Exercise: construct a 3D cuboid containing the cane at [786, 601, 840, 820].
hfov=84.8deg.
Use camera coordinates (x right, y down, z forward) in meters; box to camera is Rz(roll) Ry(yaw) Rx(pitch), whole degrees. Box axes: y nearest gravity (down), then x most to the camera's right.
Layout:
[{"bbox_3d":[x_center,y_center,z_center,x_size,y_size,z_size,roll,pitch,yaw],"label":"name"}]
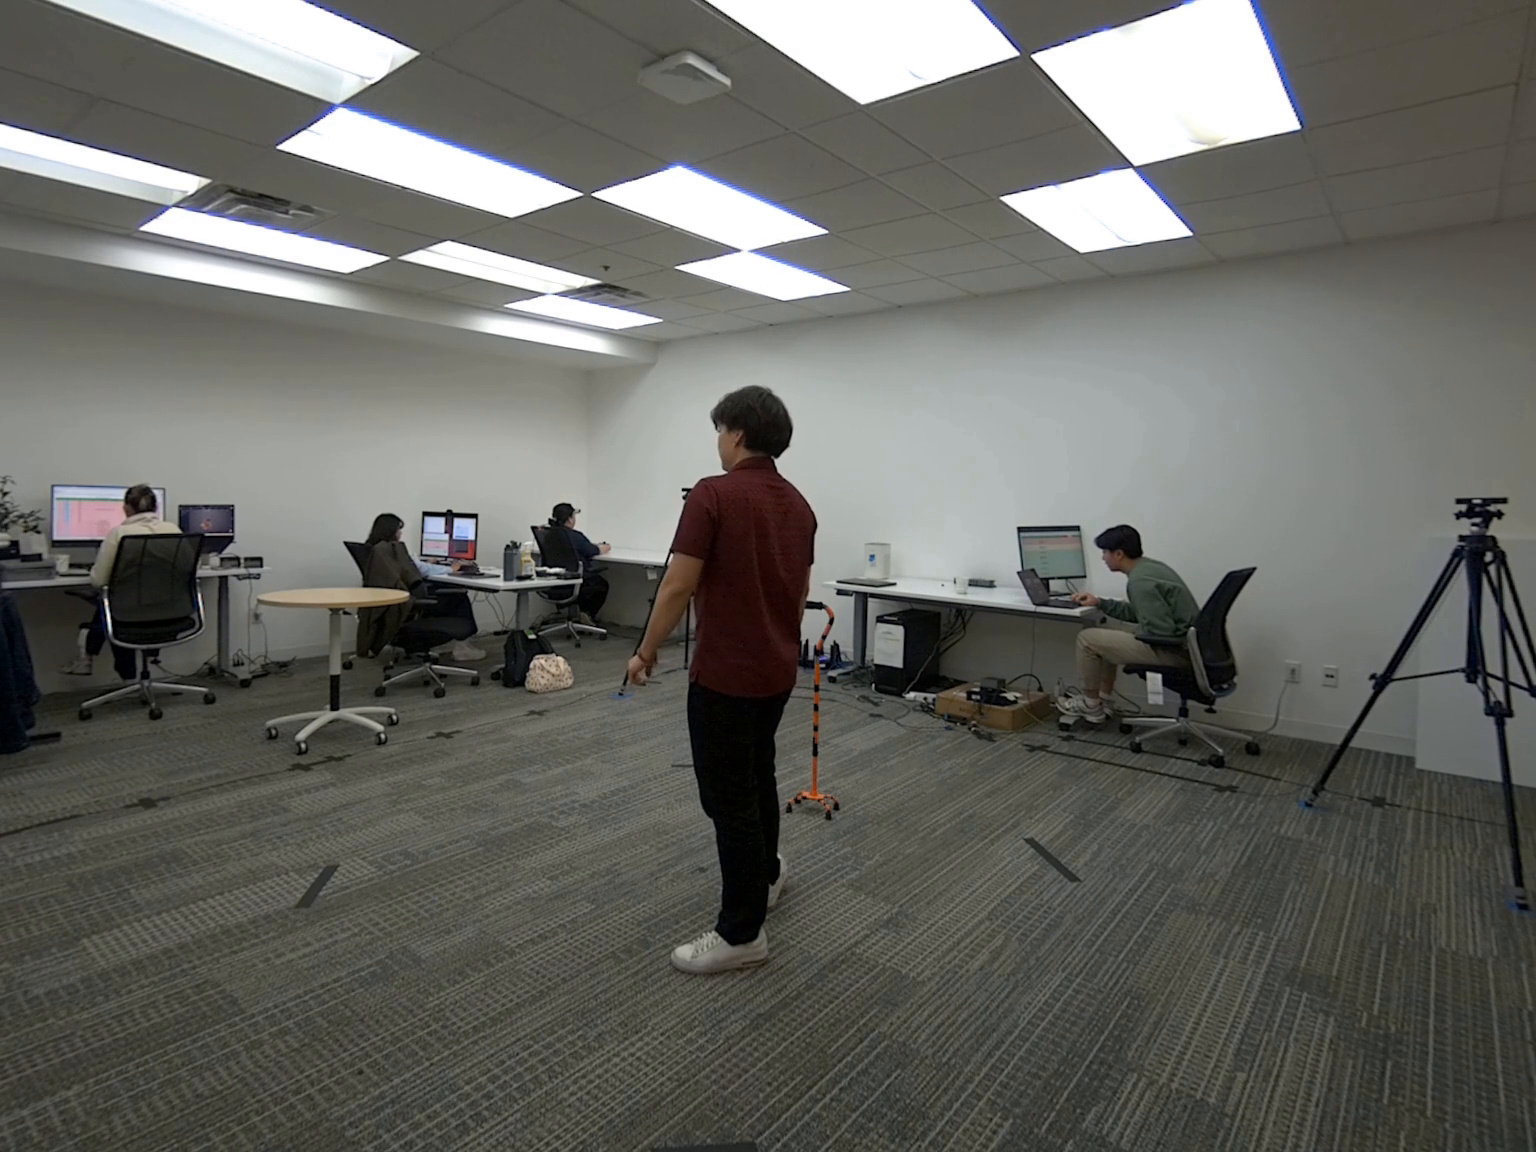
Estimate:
[{"bbox_3d":[0.205,0.569,3.685,0.211,0.906,0.148,3,3,21],"label":"cane"}]
